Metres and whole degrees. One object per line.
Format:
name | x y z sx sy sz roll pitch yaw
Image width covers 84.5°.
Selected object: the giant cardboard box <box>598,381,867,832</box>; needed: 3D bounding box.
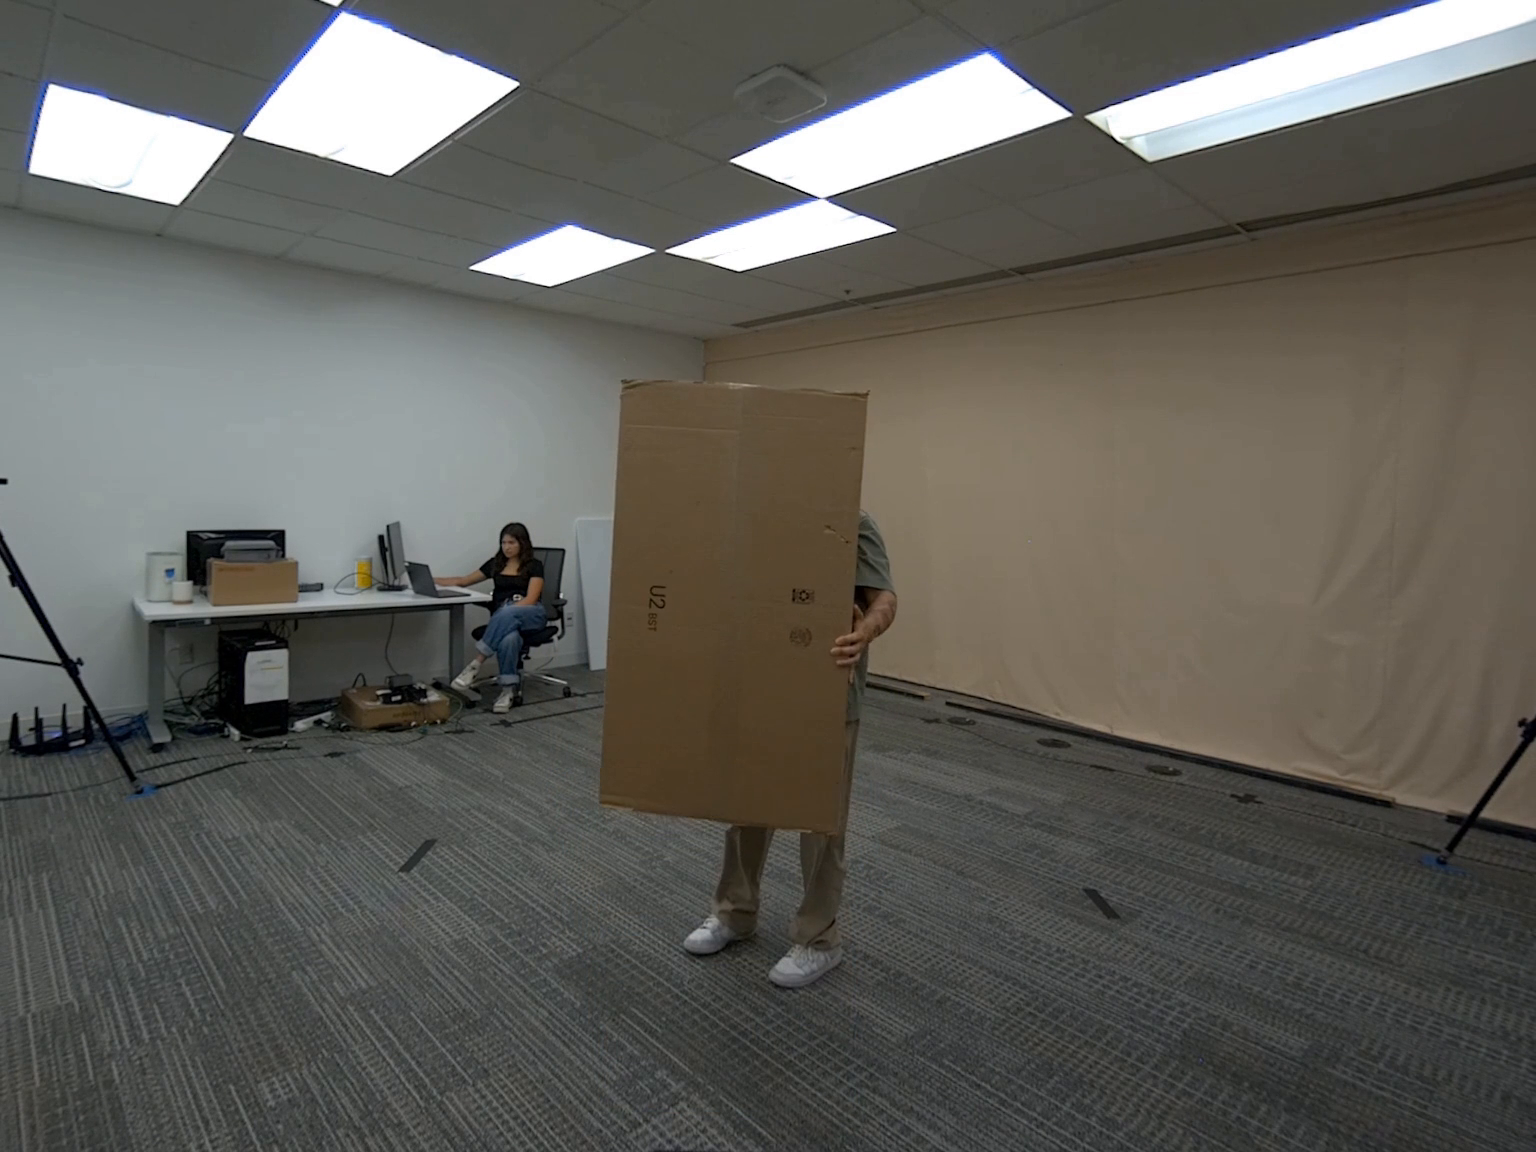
giant cardboard box | -0.073 0.056 2.146 0.581 1.023 0.425 4 3 6
